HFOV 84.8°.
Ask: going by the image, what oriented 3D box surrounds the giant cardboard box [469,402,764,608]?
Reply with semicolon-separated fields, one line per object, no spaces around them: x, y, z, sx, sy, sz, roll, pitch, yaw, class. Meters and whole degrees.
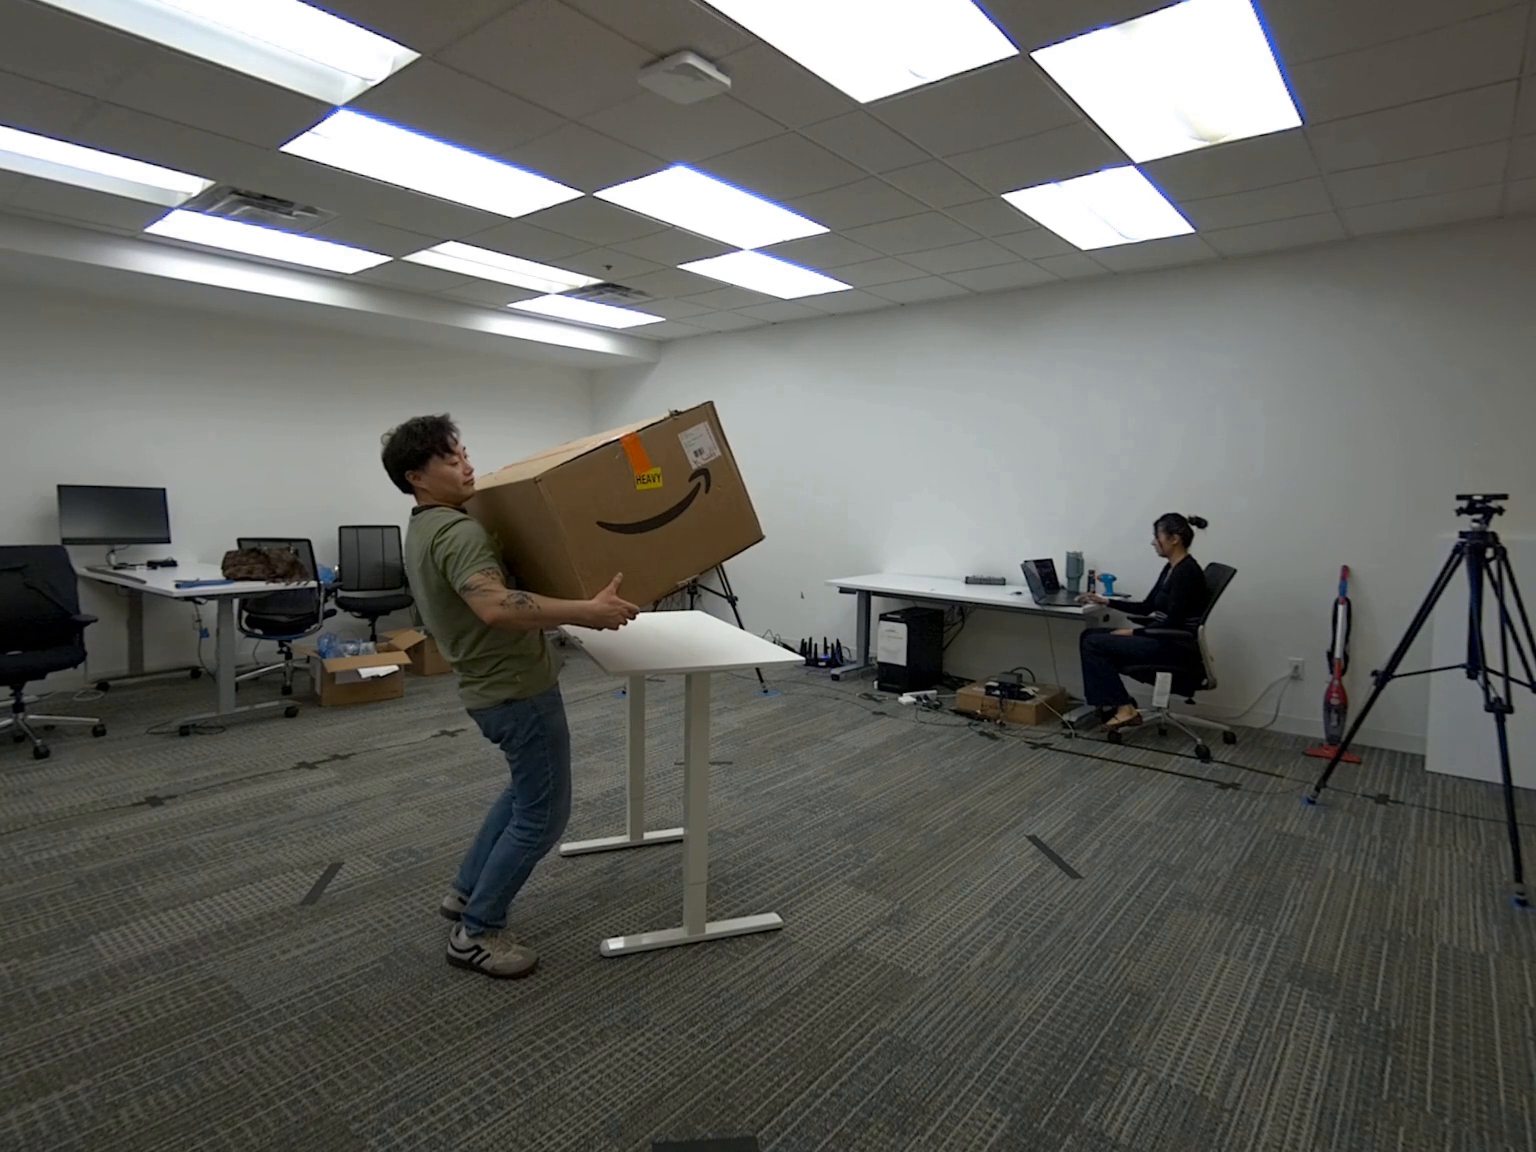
-0.590;-0.185;2.678;0.570;0.419;1.056;-30;17;-30;giant cardboard box
